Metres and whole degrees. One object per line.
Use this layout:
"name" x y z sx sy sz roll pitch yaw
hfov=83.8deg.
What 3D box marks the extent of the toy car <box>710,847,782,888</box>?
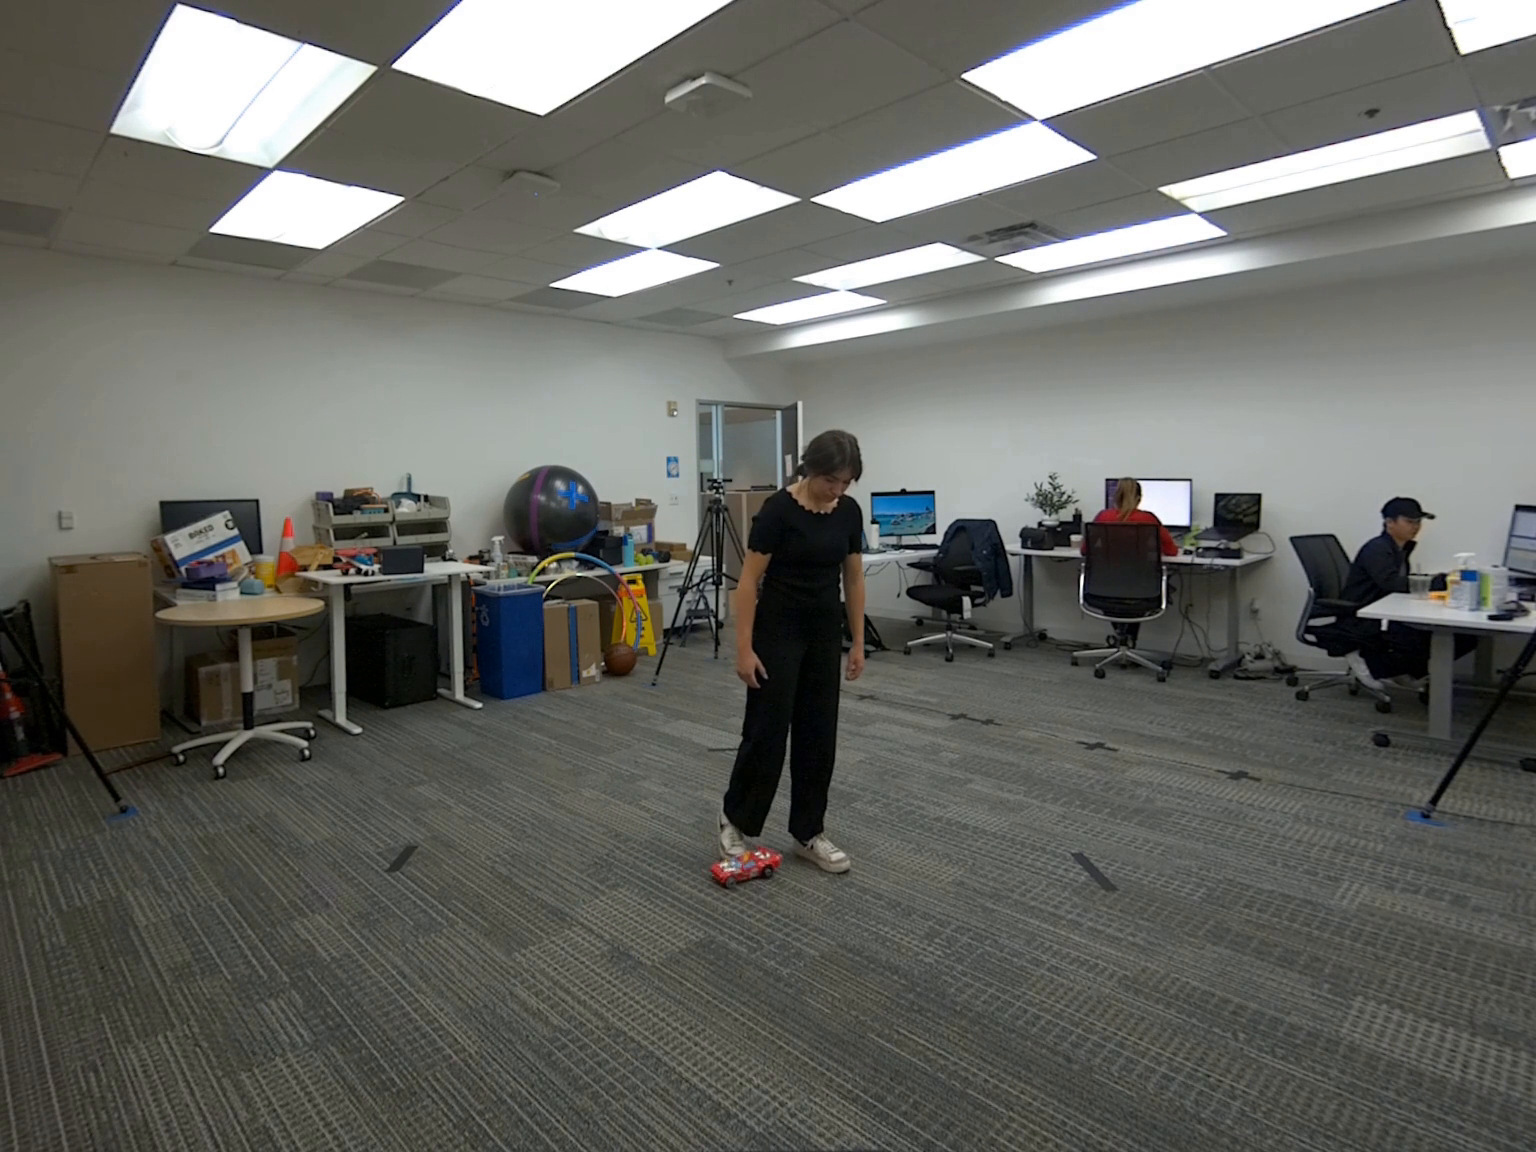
"toy car" -0.065 1.022 2.999 0.250 0.082 0.134 -17 12 -27
